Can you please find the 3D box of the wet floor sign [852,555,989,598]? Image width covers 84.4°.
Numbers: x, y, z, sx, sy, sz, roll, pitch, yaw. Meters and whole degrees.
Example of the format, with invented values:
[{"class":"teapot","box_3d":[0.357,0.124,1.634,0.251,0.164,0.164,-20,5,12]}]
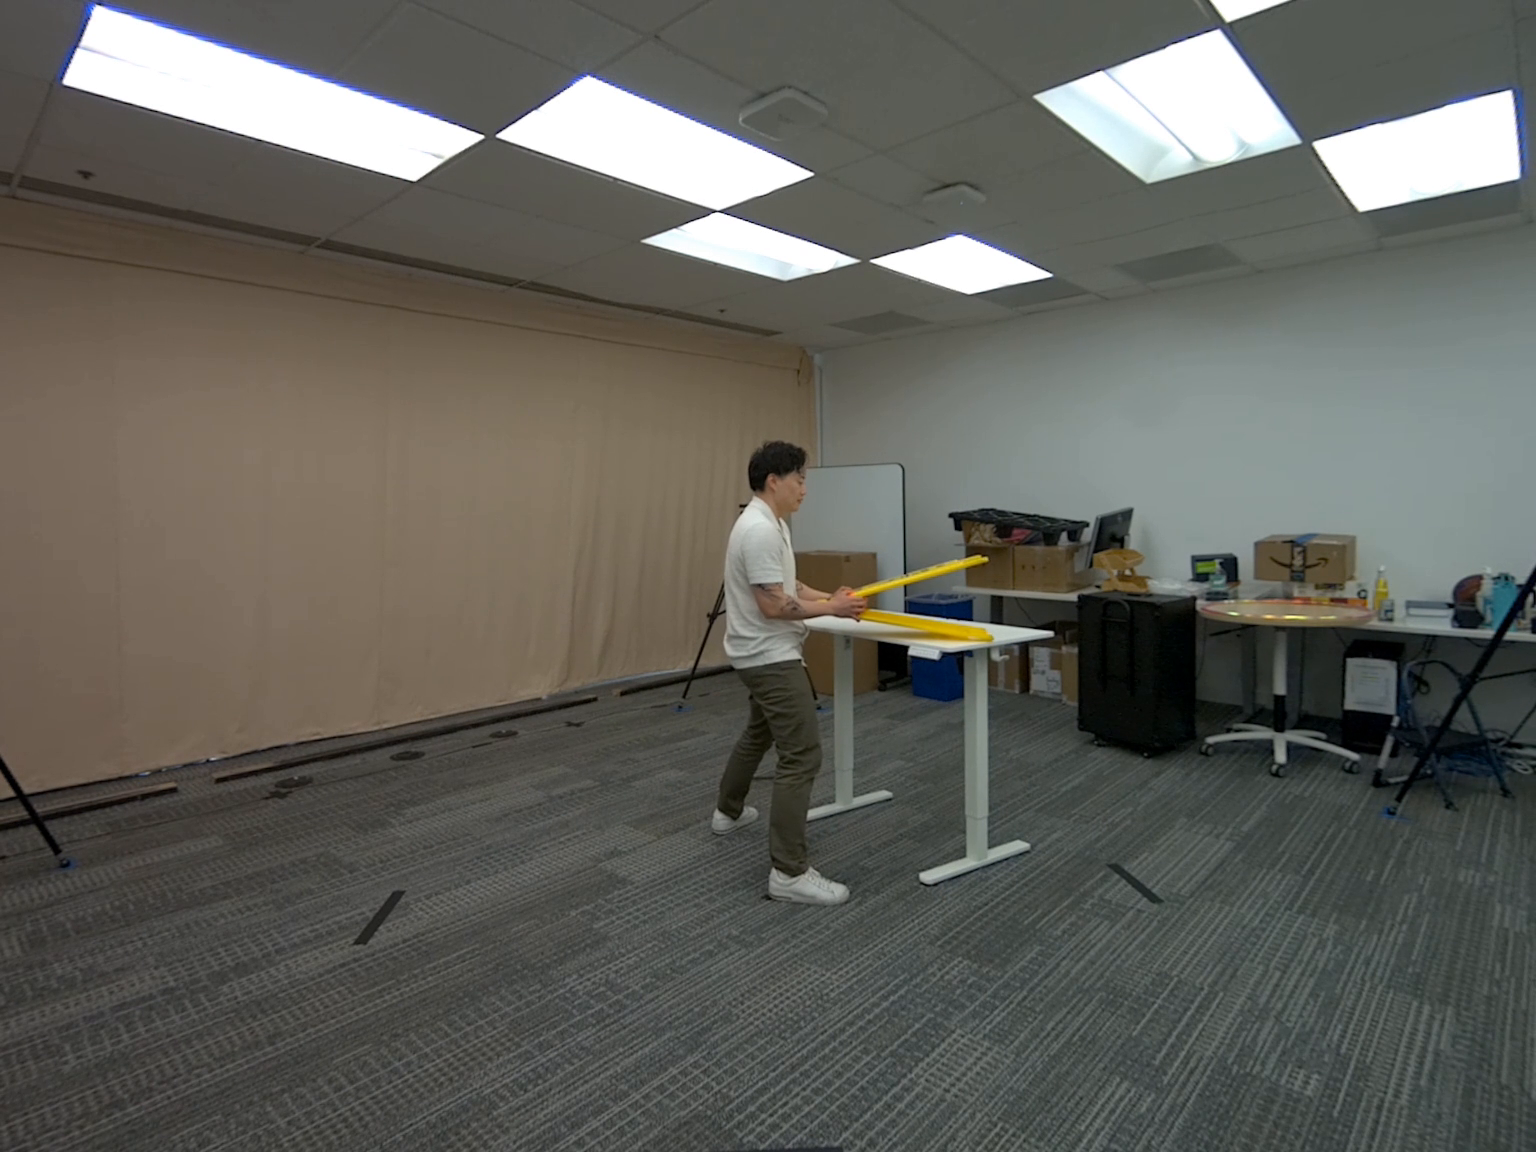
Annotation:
[{"class":"wet floor sign","box_3d":[0.513,0.095,3.200,0.653,0.289,0.279,-4,2,10]}]
